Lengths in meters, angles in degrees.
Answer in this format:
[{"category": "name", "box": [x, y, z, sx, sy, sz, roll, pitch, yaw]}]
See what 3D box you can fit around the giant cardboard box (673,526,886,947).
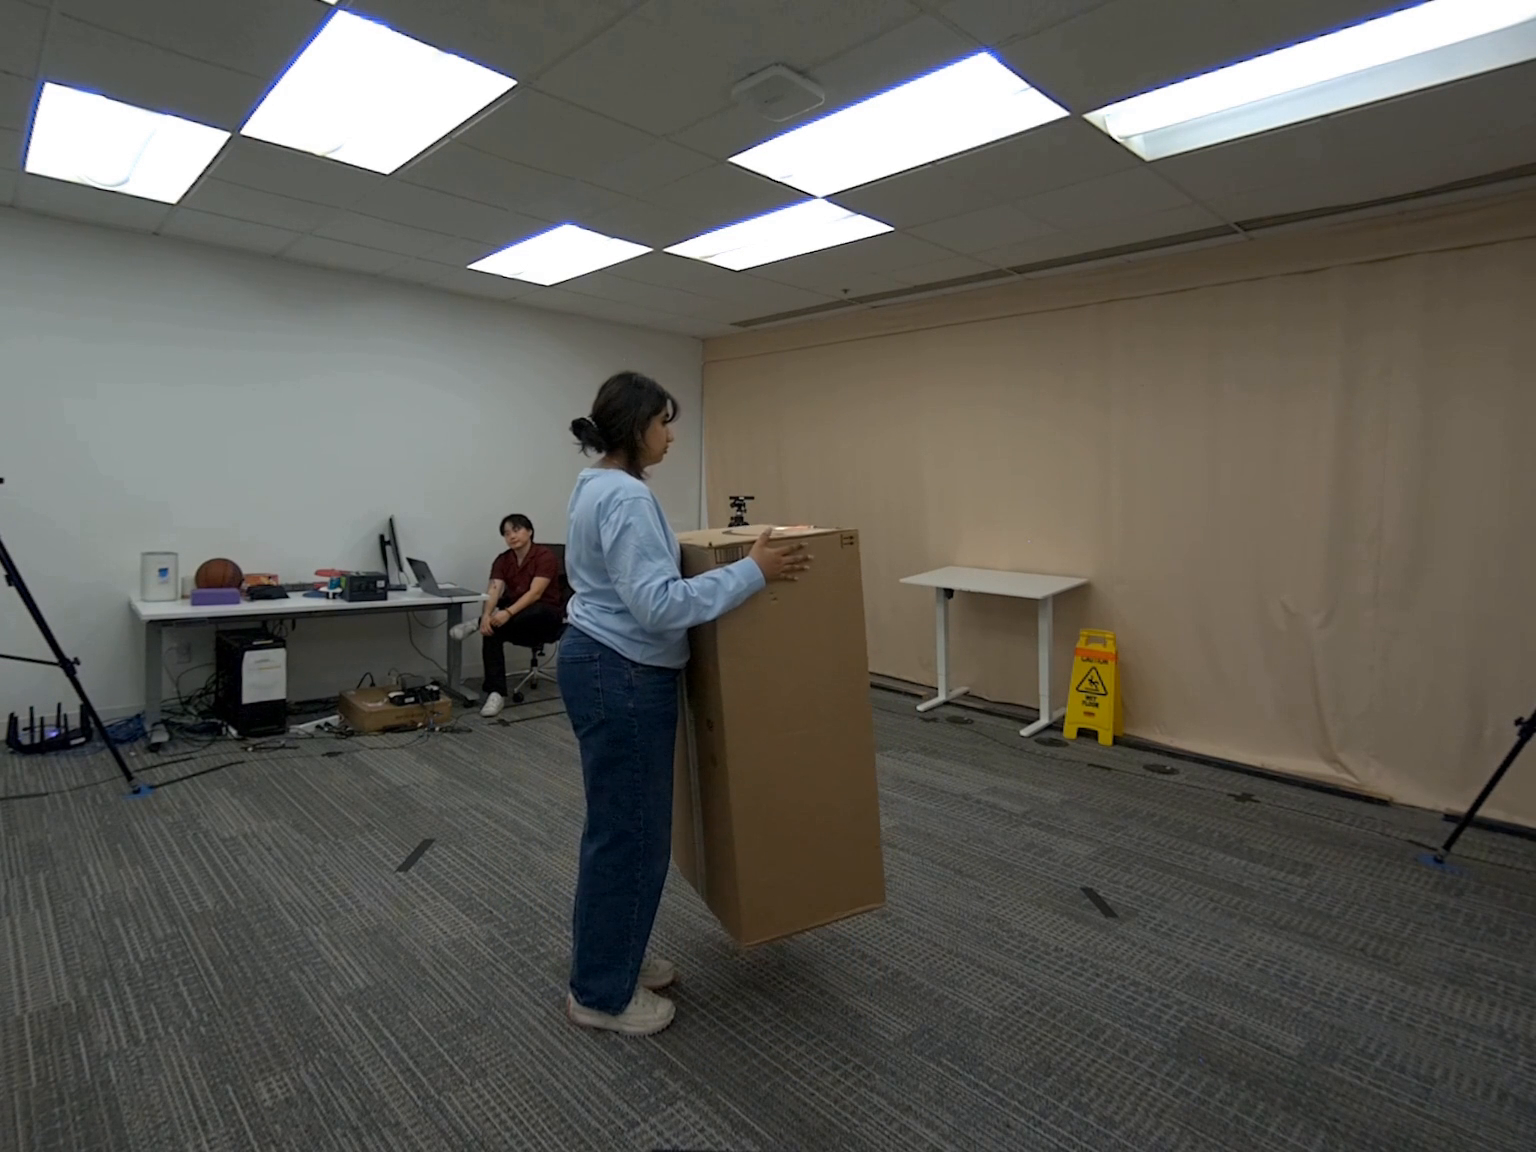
[{"category": "giant cardboard box", "box": [-0.025, 0.394, 2.406, 0.420, 1.022, 0.588, -6, 4, -23]}]
